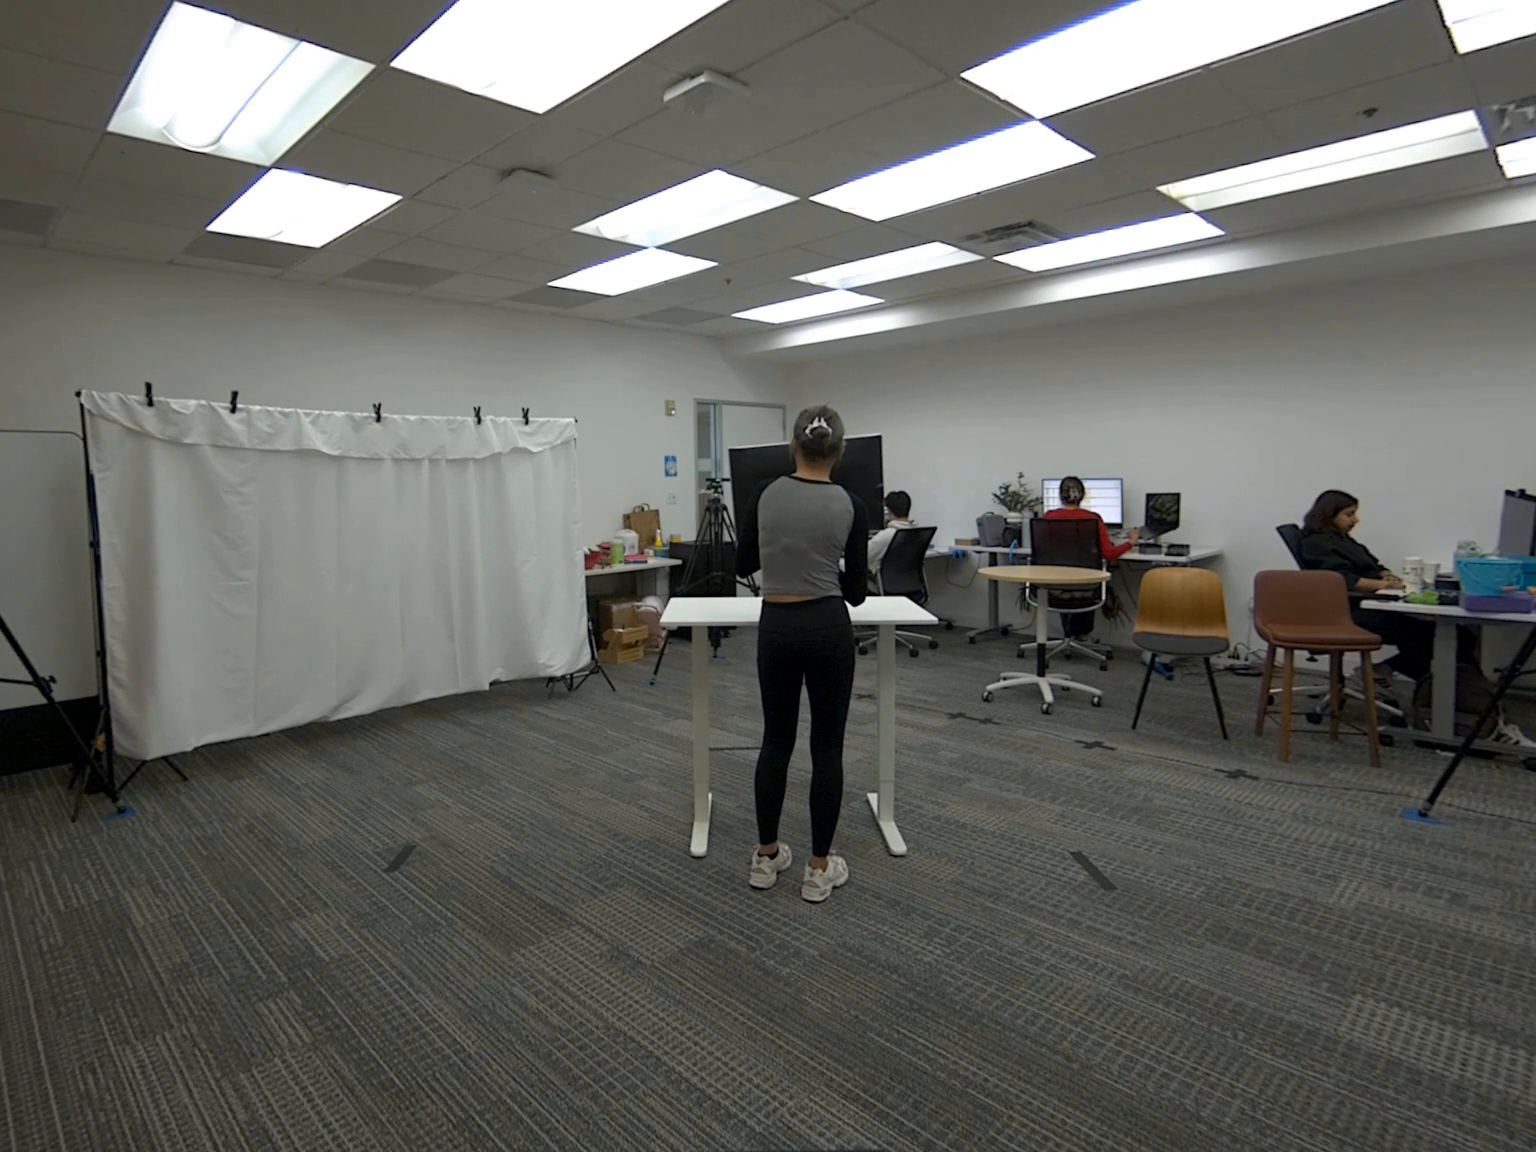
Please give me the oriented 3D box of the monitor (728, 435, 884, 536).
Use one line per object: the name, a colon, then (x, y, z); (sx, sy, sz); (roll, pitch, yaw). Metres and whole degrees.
monitor: (0.161, -0.229, 3.101); (0.538, 0.520, 0.188); (-5, 4, -2)
